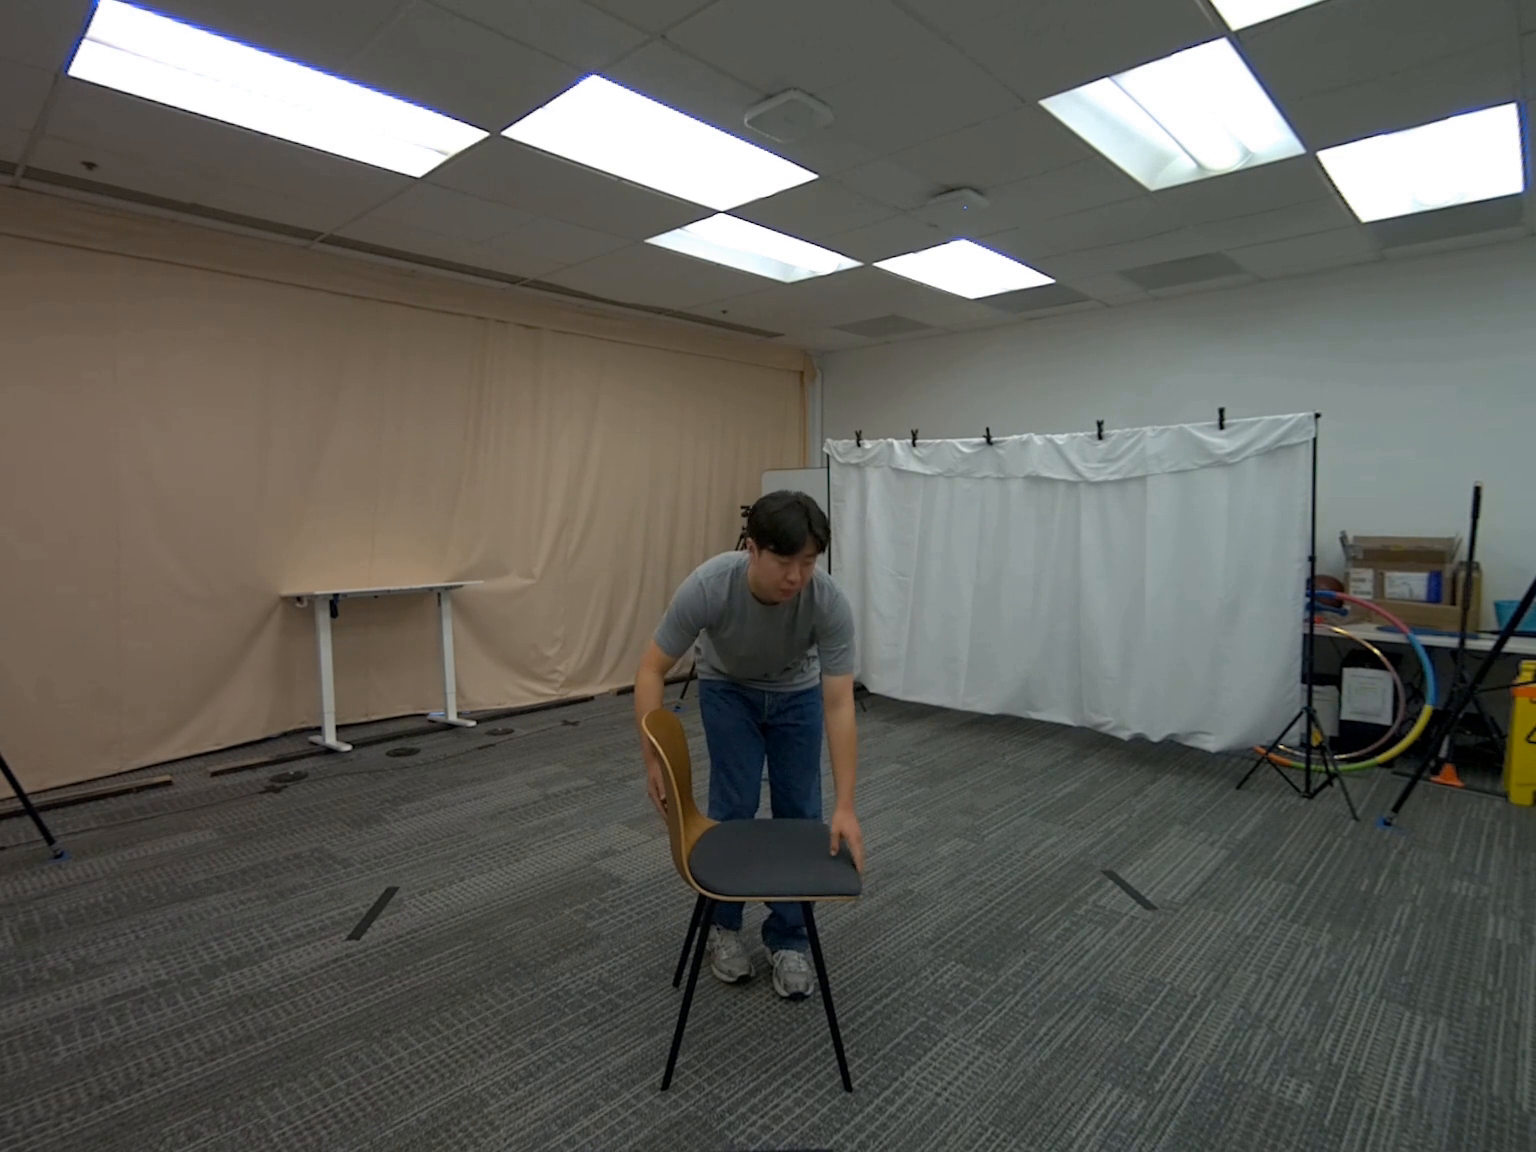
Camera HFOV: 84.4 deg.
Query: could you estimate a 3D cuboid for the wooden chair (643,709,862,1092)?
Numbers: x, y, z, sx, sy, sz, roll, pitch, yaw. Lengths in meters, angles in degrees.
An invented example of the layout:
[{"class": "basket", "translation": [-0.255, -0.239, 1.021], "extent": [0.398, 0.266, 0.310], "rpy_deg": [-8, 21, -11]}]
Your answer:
[{"class": "wooden chair", "translation": [-0.027, 0.780, 2.198], "extent": [0.523, 0.875, 0.479], "rpy_deg": [-4, 3, -1]}]
